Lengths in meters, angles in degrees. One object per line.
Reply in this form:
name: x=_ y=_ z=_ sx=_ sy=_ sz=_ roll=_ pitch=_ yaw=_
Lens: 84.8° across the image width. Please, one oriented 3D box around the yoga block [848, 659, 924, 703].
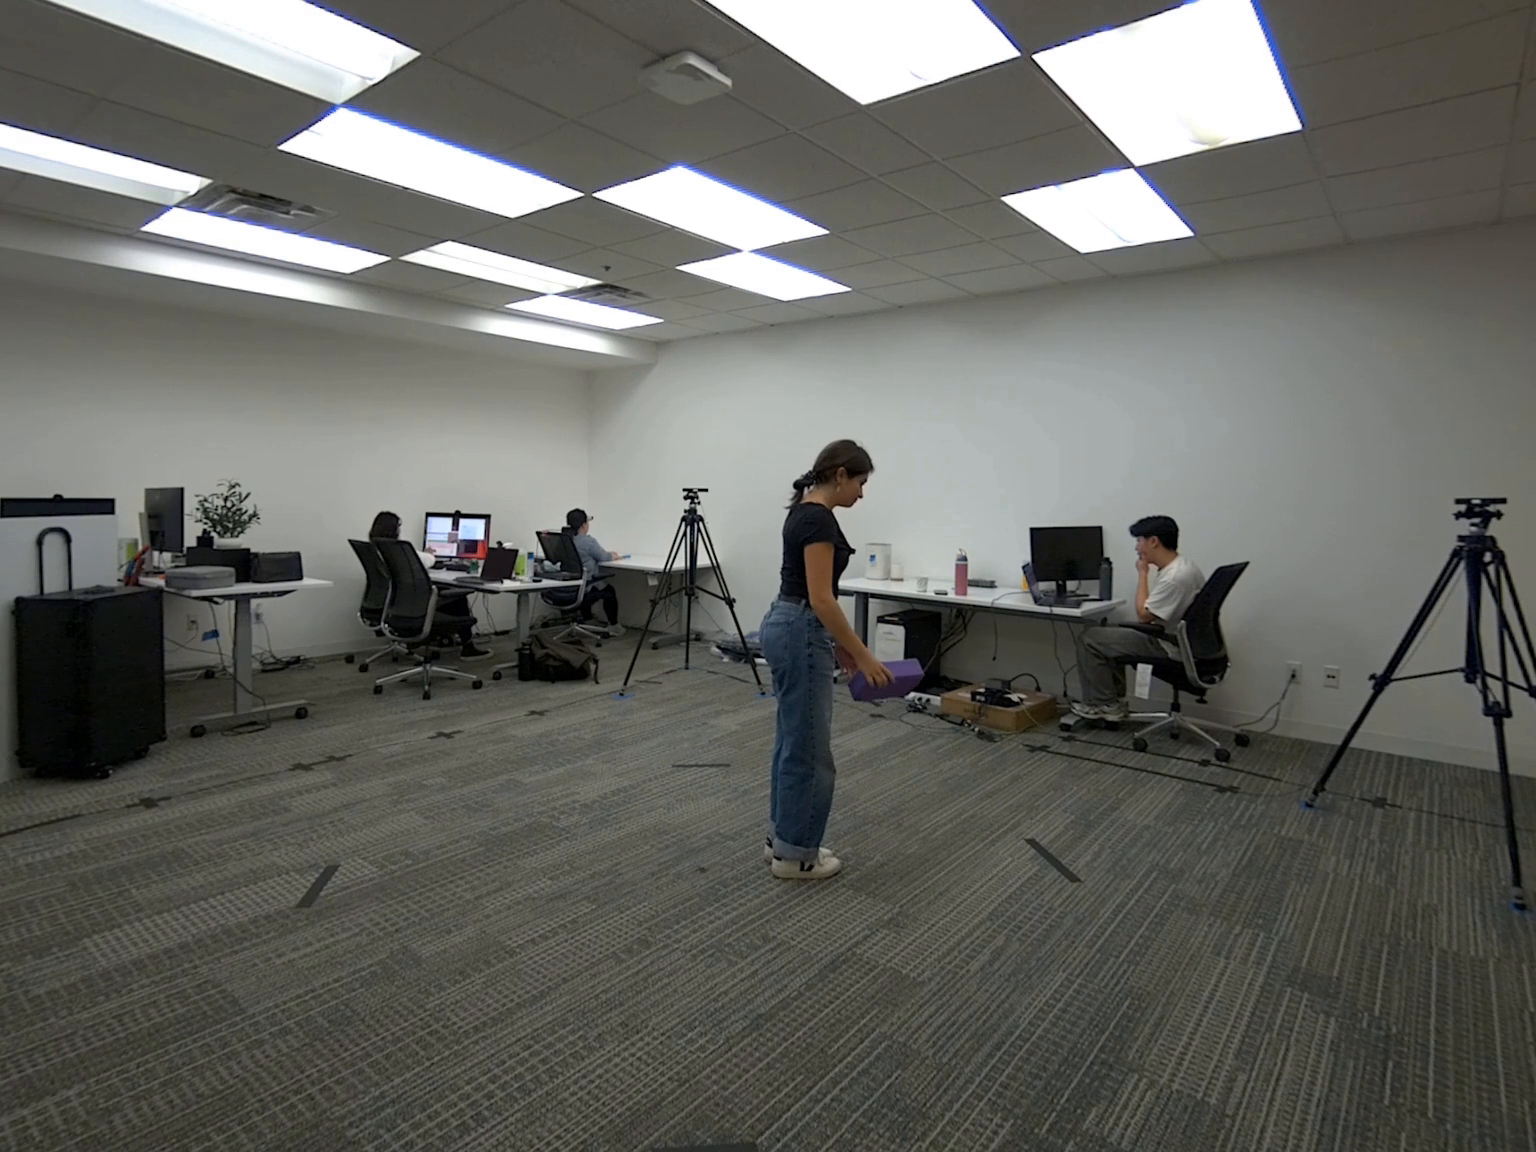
yoga block: x=0.413 y=0.362 z=3.018 sx=0.225 sy=0.079 sz=0.146 roll=0 pitch=-40 yaw=-16
